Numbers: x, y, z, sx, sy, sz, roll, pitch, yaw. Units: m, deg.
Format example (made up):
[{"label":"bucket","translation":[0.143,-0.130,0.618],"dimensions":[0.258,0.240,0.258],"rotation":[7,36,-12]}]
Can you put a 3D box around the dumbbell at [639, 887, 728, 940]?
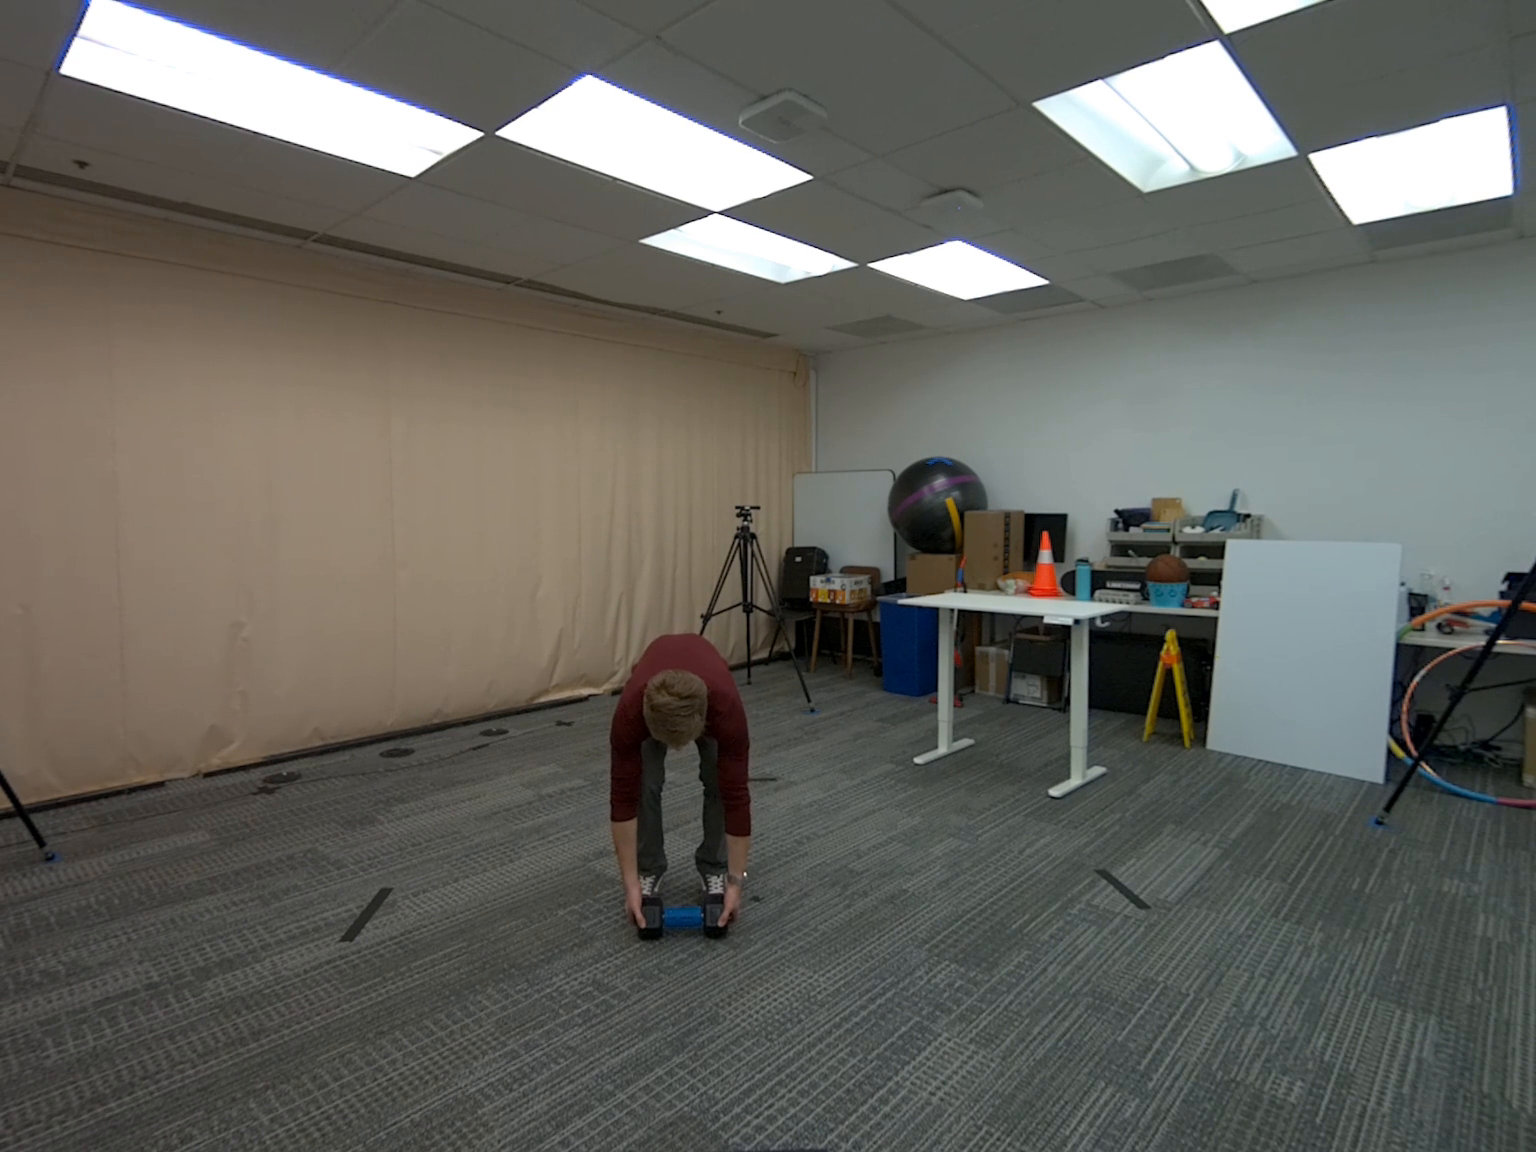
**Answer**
[{"label":"dumbbell","translation":[-0.276,1.101,2.725],"dimensions":[0.294,0.125,0.107],"rotation":[-1,-26,0]}]
